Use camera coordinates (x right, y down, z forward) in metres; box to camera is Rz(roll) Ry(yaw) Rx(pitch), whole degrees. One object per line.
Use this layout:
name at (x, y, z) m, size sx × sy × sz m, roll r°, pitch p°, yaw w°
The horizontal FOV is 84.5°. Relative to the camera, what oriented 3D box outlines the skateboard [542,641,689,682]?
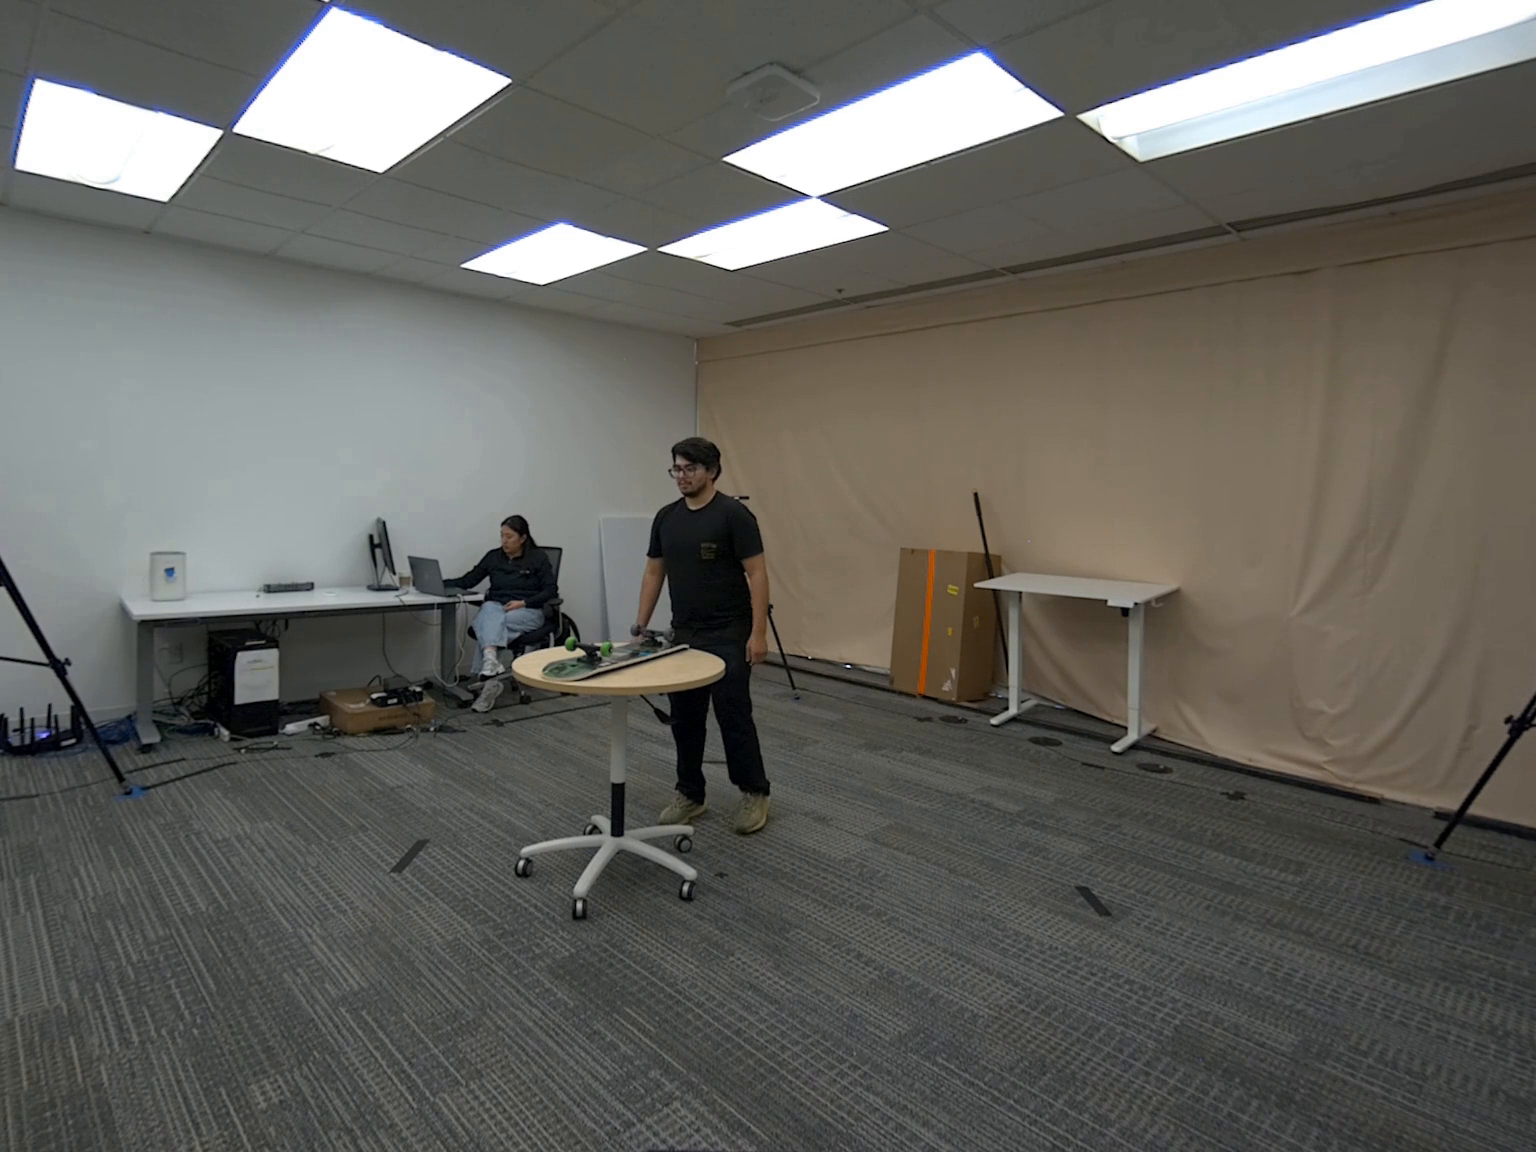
skateboard at (-0.553, 0.268, 3.093) m, size 0.197 × 0.110 × 0.772 m, roll 5°, pitch 6°, yaw 26°
